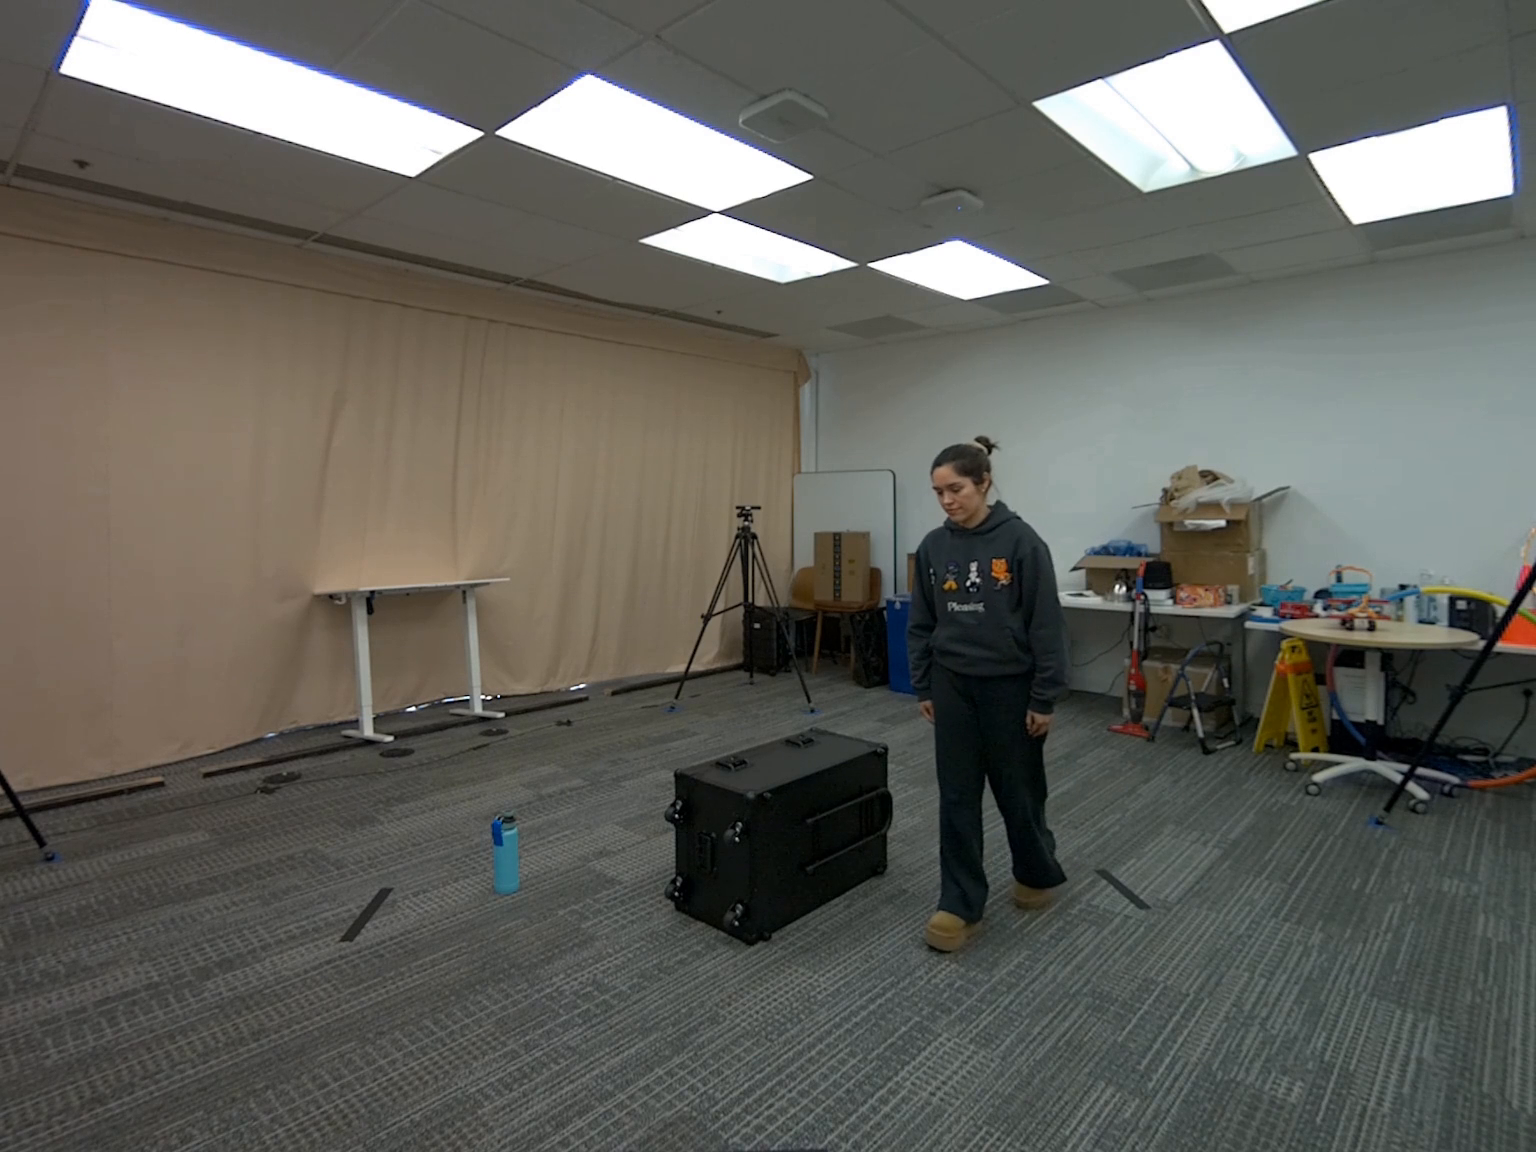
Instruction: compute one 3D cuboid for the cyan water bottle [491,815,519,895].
[{"bbox_3d":[-0.943,1.017,3.079,0.092,0.283,0.092,-2,2,-2],"label":"cyan water bottle"}]
